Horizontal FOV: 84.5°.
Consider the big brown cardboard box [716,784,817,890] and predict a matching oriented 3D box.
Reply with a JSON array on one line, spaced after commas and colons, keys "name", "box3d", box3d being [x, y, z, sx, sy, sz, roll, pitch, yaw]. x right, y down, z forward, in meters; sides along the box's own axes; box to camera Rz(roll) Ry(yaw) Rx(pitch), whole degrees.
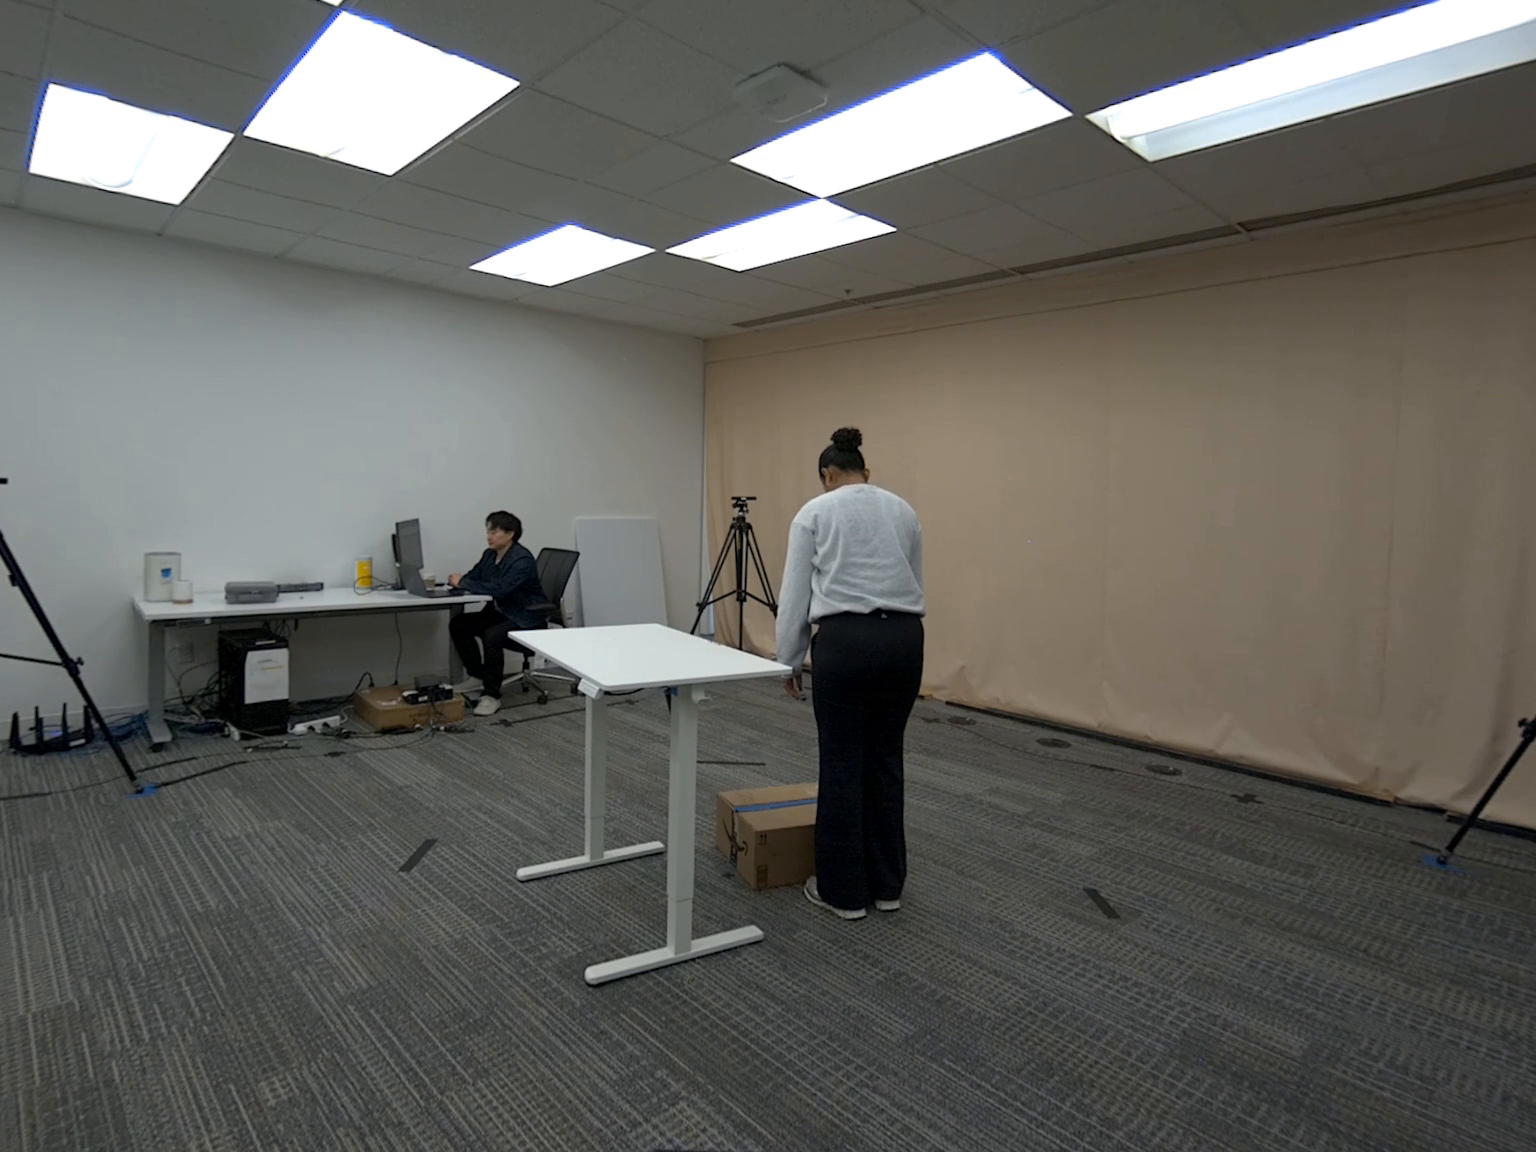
[{"name": "big brown cardboard box", "box3d": [0.126, 0.986, 3.276, 0.579, 0.232, 0.425, -1, 5, -23]}]
